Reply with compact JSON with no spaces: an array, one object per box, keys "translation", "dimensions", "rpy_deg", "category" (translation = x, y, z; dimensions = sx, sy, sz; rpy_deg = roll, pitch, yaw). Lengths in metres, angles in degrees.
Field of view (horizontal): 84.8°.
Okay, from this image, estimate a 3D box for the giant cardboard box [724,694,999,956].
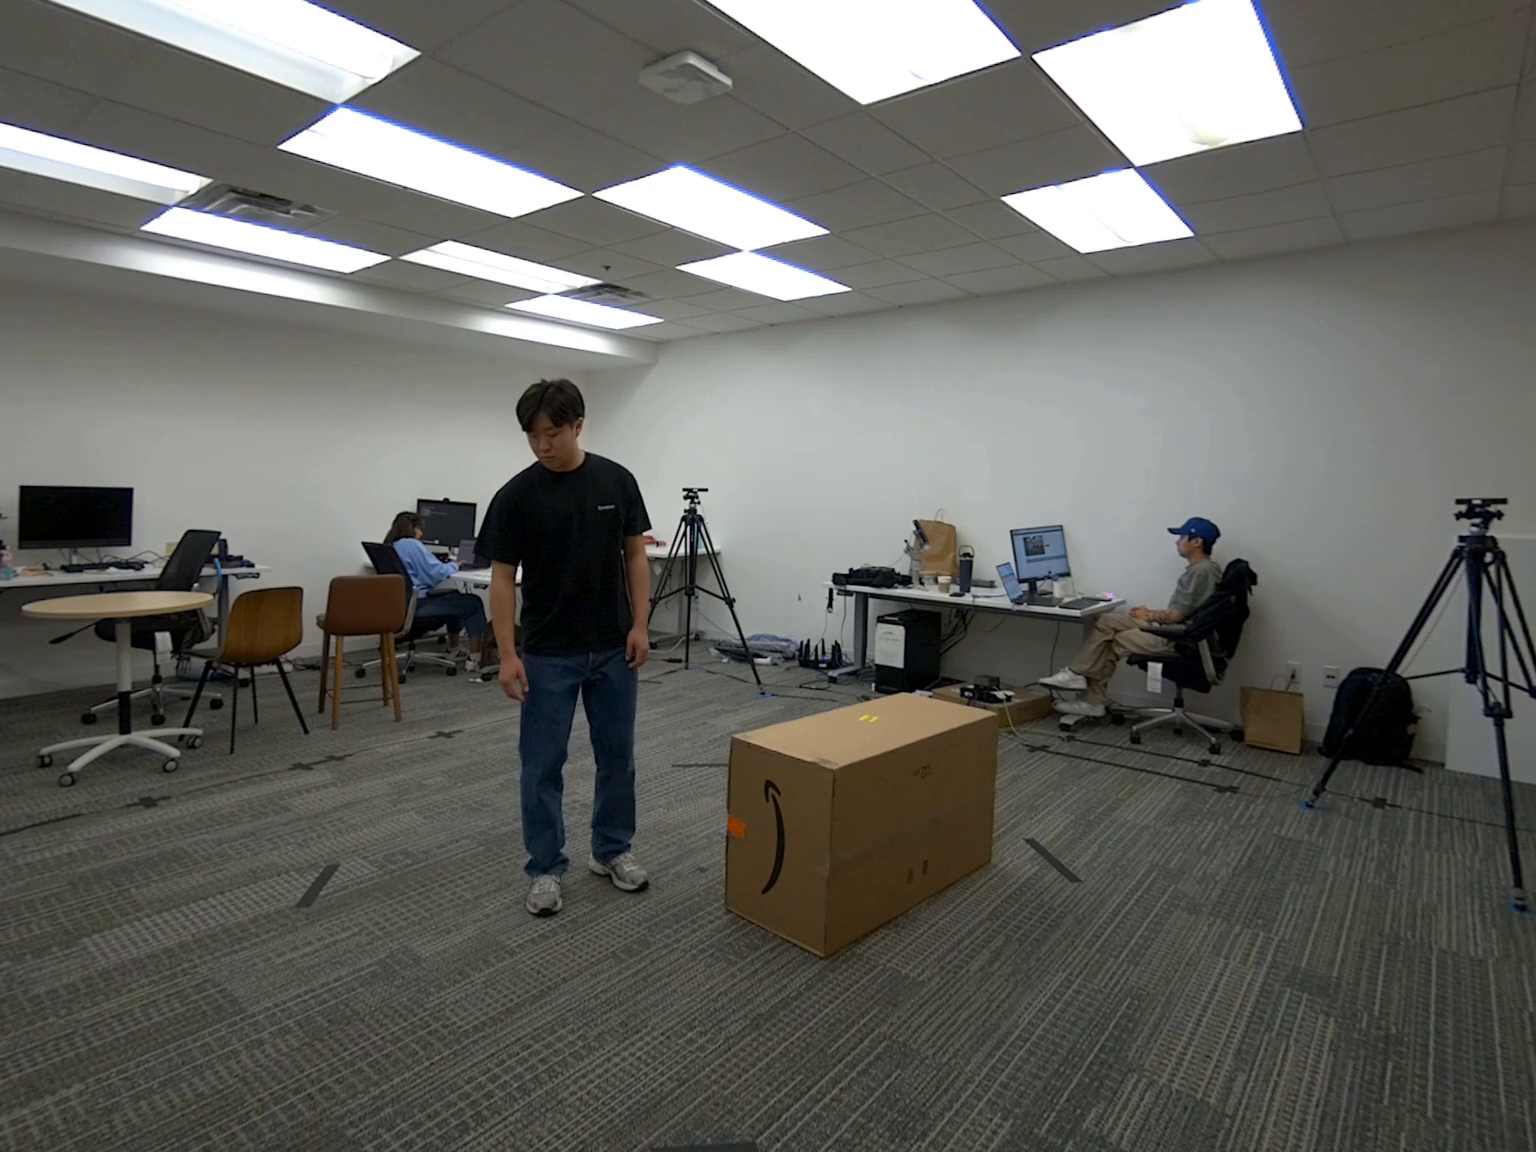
[{"translation":[0.353,0.805,3.013],"dimensions":[0.462,0.582,0.996],"rpy_deg":[4,5,43],"category":"giant cardboard box"}]
